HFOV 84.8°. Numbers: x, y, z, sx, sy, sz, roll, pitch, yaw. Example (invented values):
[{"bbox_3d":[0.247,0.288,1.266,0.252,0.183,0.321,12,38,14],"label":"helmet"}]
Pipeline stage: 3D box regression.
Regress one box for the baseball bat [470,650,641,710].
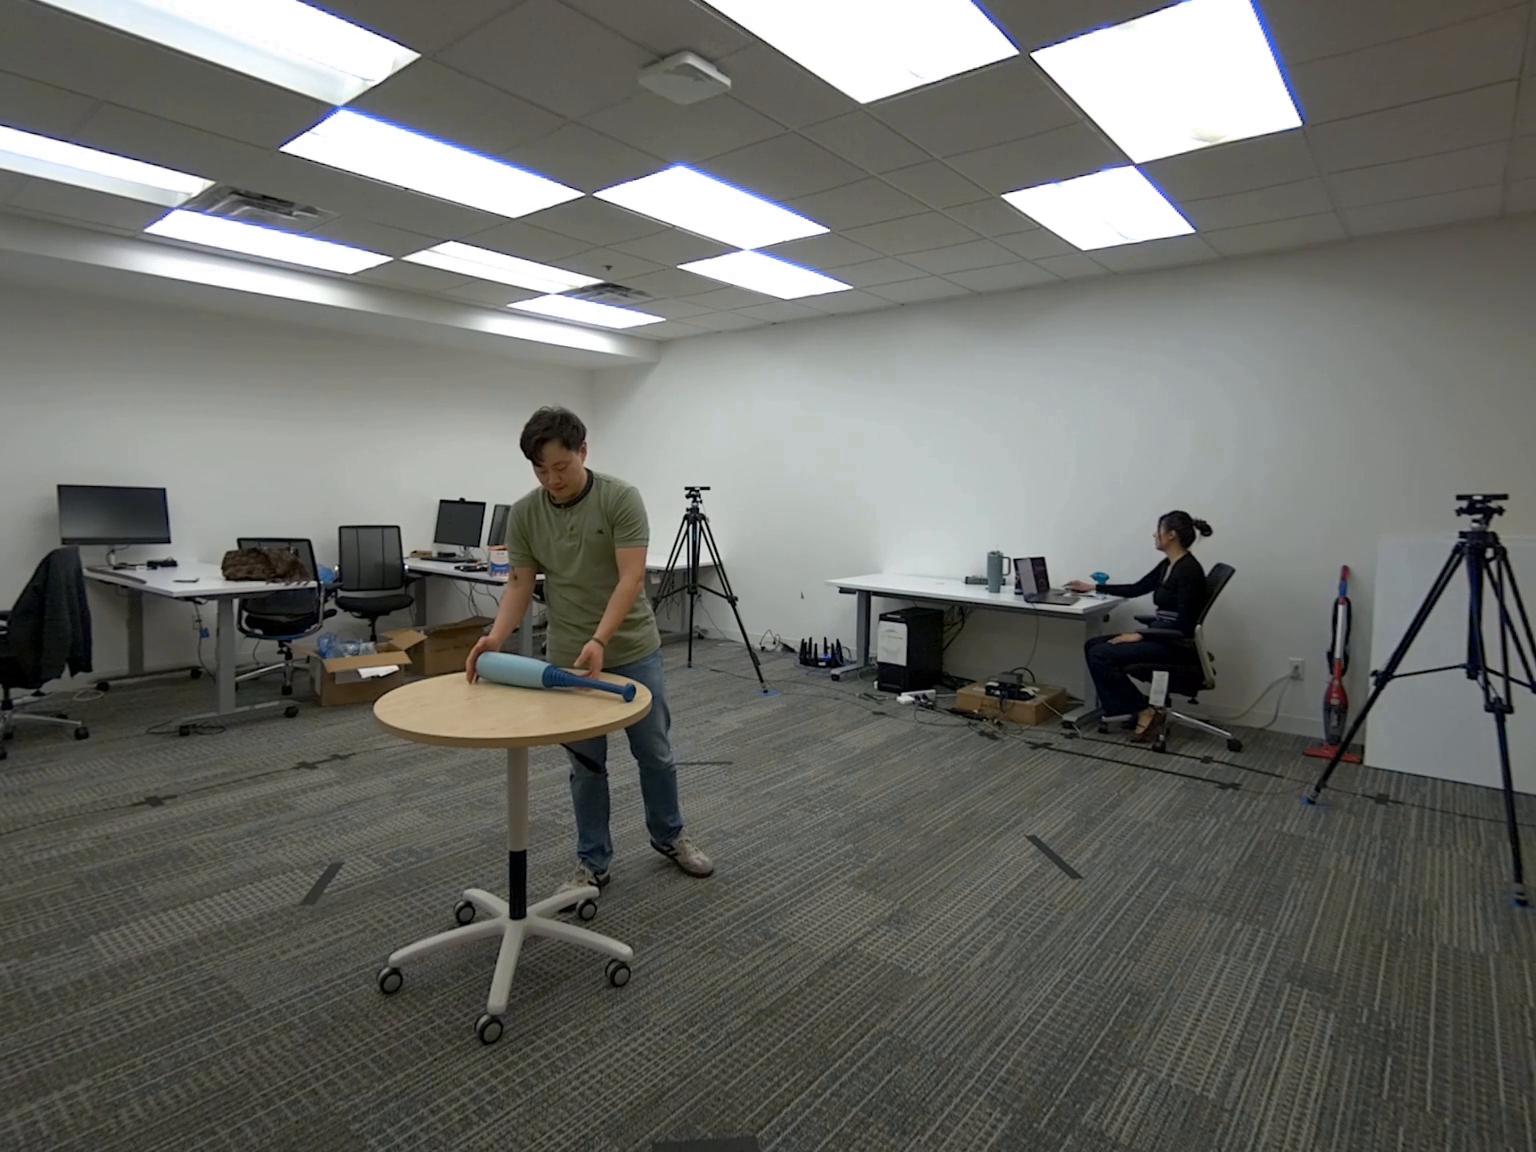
[{"bbox_3d":[-0.640,0.301,2.502,0.557,0.089,0.087,5,6,24],"label":"baseball bat"}]
